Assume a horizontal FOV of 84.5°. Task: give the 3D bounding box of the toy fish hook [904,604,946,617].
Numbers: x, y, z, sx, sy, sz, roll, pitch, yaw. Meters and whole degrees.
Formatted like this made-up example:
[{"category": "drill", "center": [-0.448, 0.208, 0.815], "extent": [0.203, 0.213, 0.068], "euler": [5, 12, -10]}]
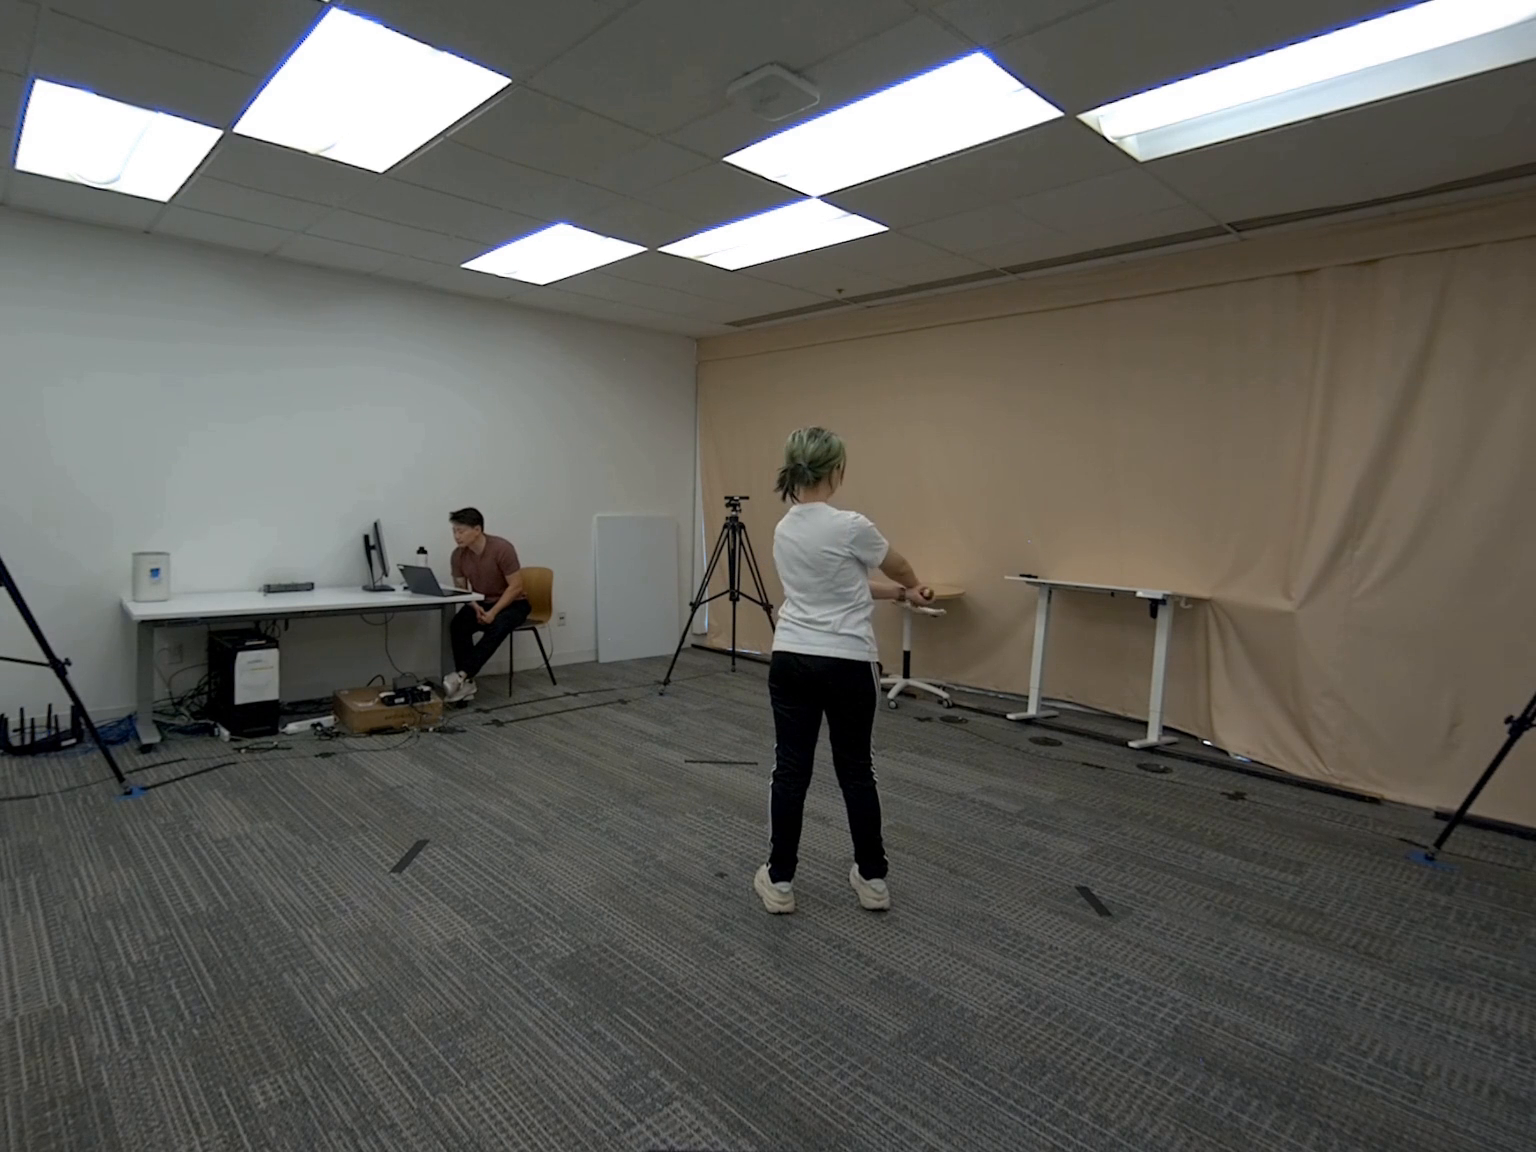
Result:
[{"category": "toy fish hook", "center": [0.612, 0.106, 3.248], "extent": [0.223, 0.048, 0.507], "euler": [14, -5, -6]}]
